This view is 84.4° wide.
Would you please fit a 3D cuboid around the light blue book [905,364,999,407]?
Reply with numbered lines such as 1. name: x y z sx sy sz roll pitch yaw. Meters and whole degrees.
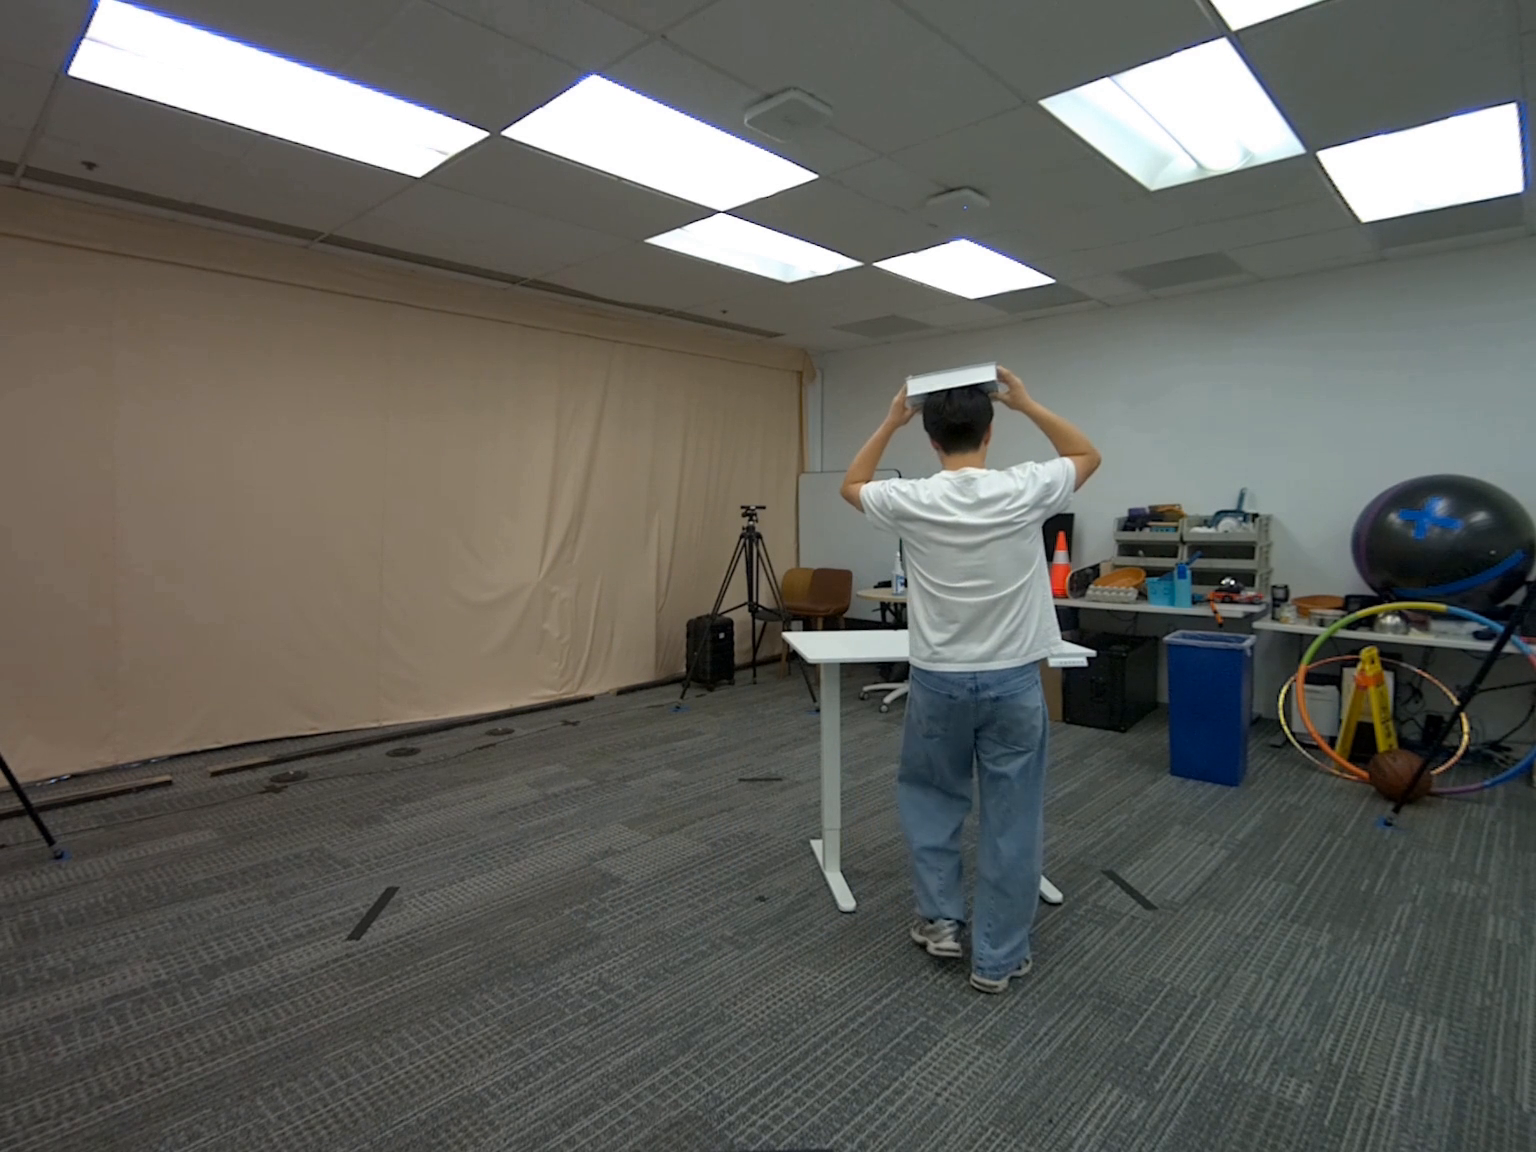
1. light blue book: 0.575 -0.565 2.557 0.266 0.059 0.186 -6 -11 19
